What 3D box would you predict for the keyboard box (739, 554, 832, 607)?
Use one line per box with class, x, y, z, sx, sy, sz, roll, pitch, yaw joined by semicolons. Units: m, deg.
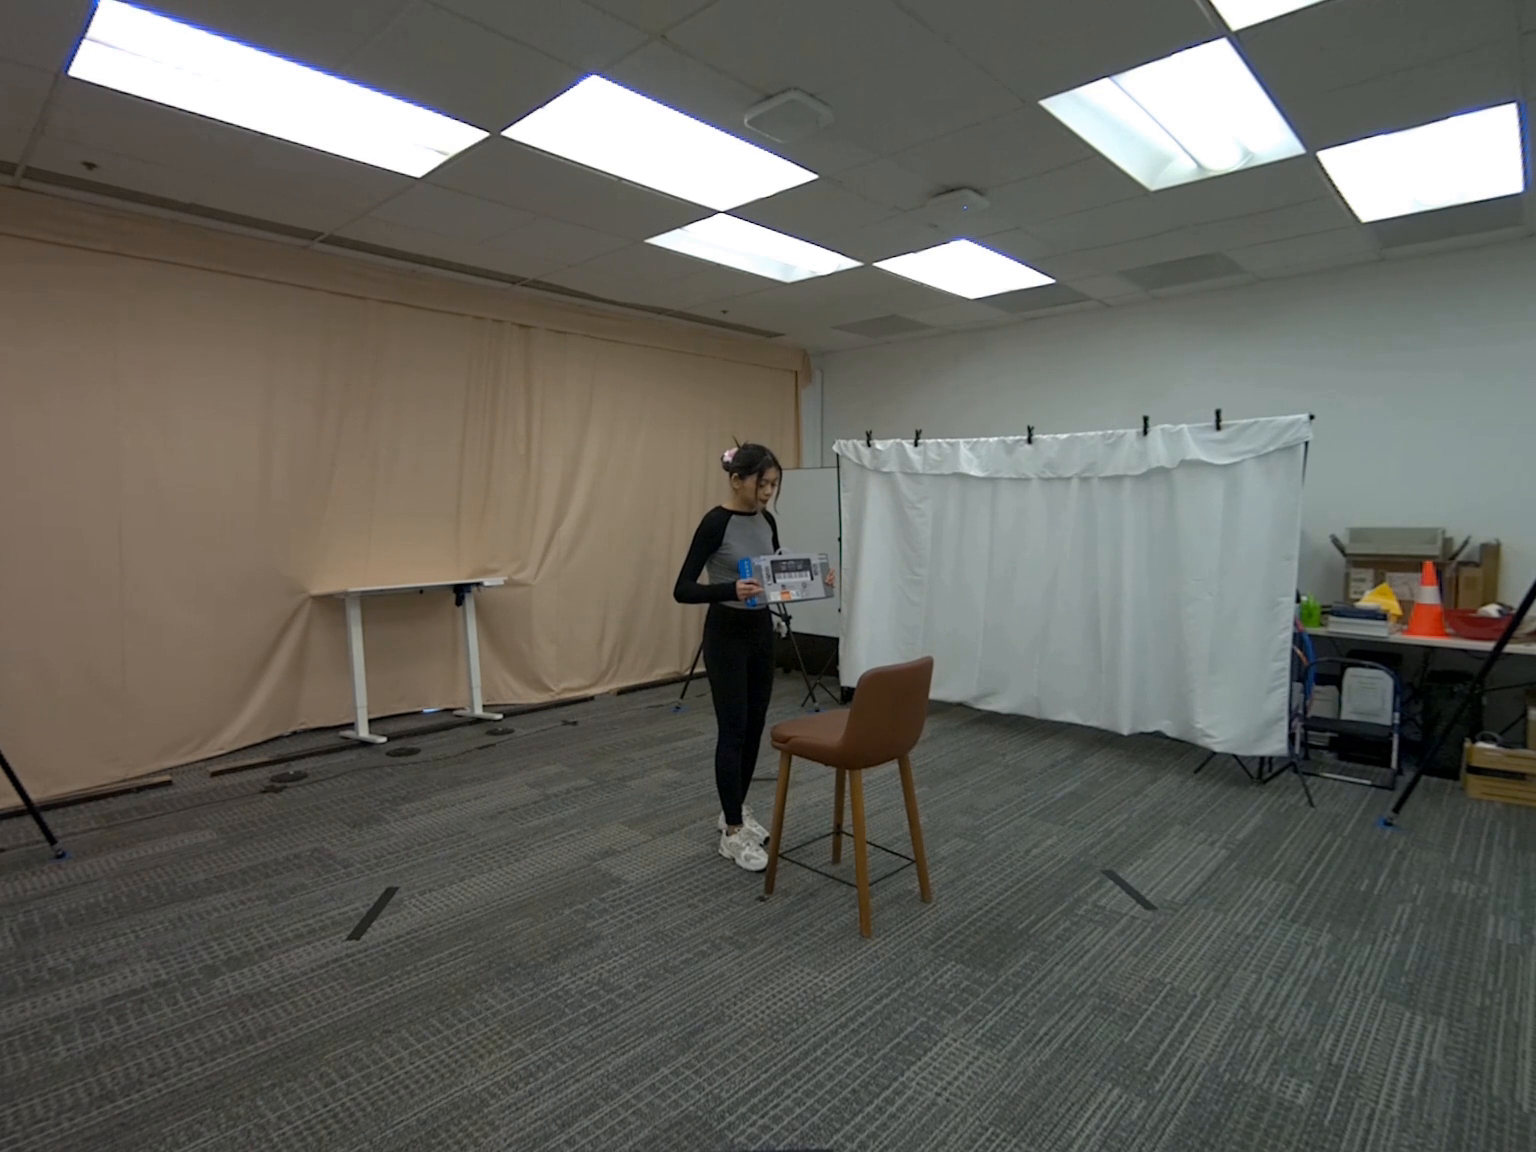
keyboard box;0.079;0.012;3.147;0.423;0.177;0.060;-3;-8;-45
